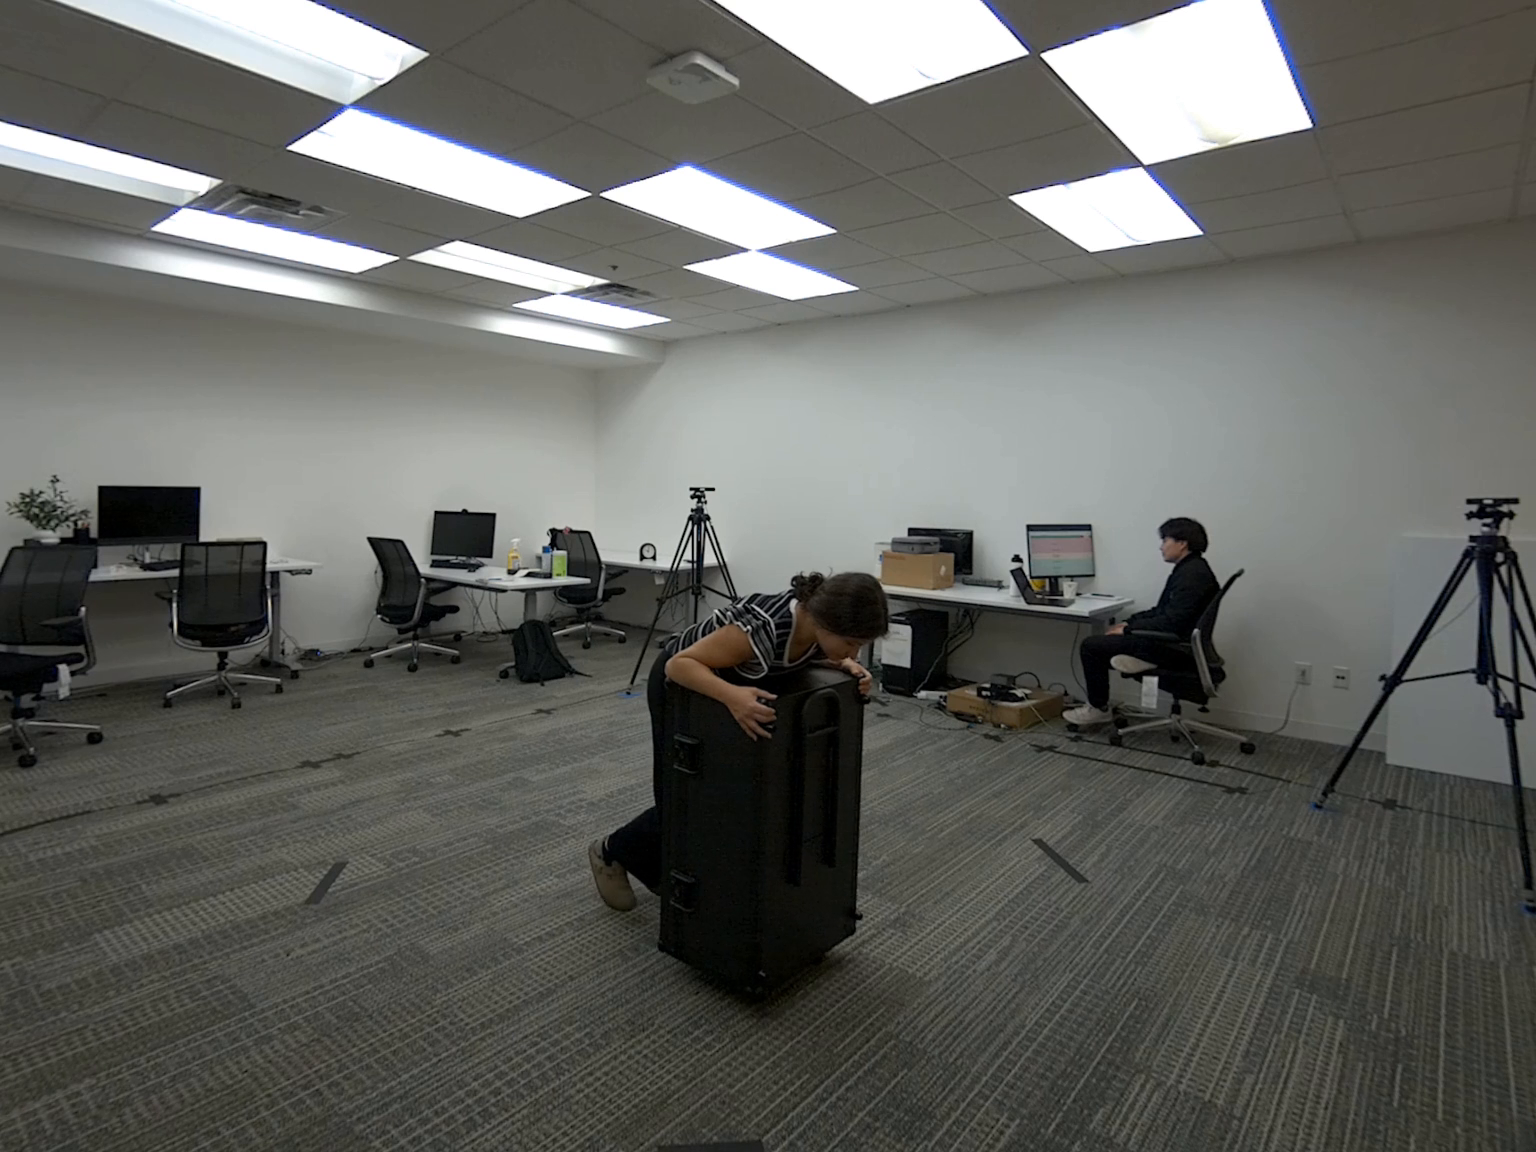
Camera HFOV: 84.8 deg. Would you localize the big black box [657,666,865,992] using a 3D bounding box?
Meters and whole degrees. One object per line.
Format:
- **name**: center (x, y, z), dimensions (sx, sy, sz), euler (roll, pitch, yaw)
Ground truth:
- **big black box**: center (-0.009, 0.725, 2.459), dimensions (0.410, 0.858, 0.506), euler (6, 6, 40)
